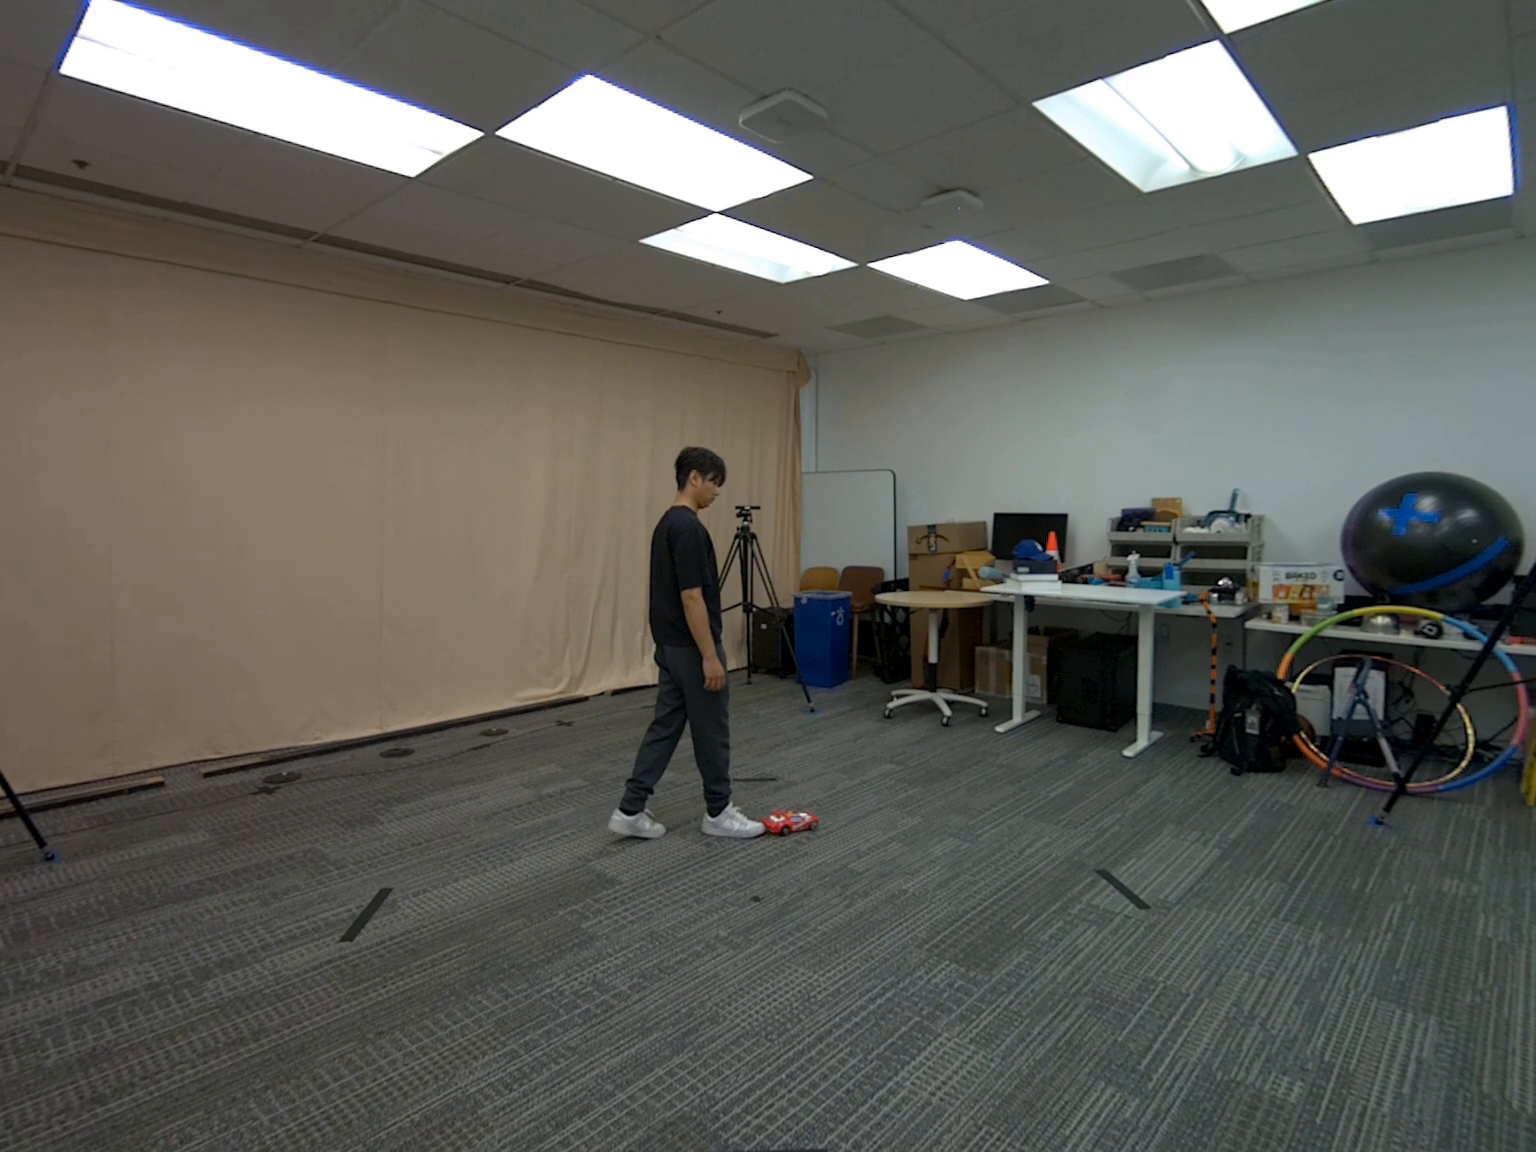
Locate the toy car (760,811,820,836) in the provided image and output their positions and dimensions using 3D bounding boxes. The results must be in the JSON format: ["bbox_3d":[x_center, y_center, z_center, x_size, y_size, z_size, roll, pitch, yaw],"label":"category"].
[{"bbox_3d":[0.089,1.062,3.614,0.247,0.083,0.134,10,-1,-27],"label":"toy car"}]
